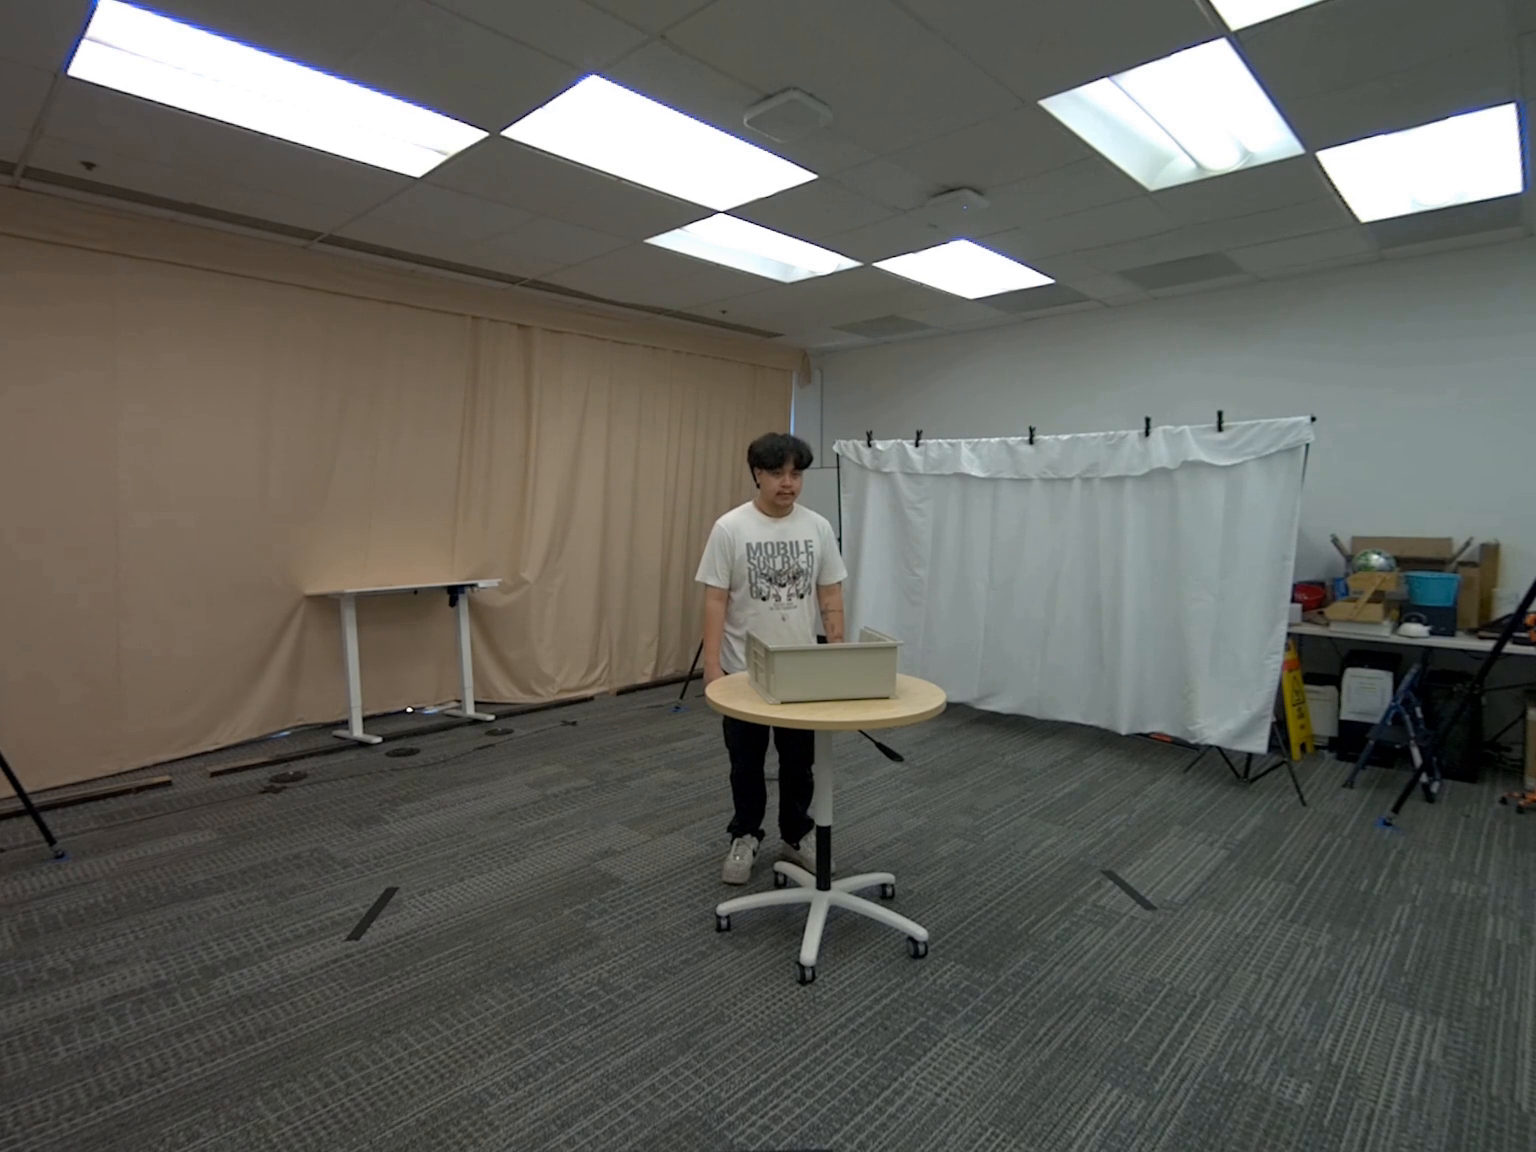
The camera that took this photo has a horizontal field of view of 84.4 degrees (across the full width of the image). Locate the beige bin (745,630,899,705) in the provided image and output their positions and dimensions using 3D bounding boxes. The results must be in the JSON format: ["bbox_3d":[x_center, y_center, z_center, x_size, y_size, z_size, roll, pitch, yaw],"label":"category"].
[{"bbox_3d":[0.169,0.278,2.730,0.418,0.188,0.383,-1,6,-11],"label":"beige bin"}]
